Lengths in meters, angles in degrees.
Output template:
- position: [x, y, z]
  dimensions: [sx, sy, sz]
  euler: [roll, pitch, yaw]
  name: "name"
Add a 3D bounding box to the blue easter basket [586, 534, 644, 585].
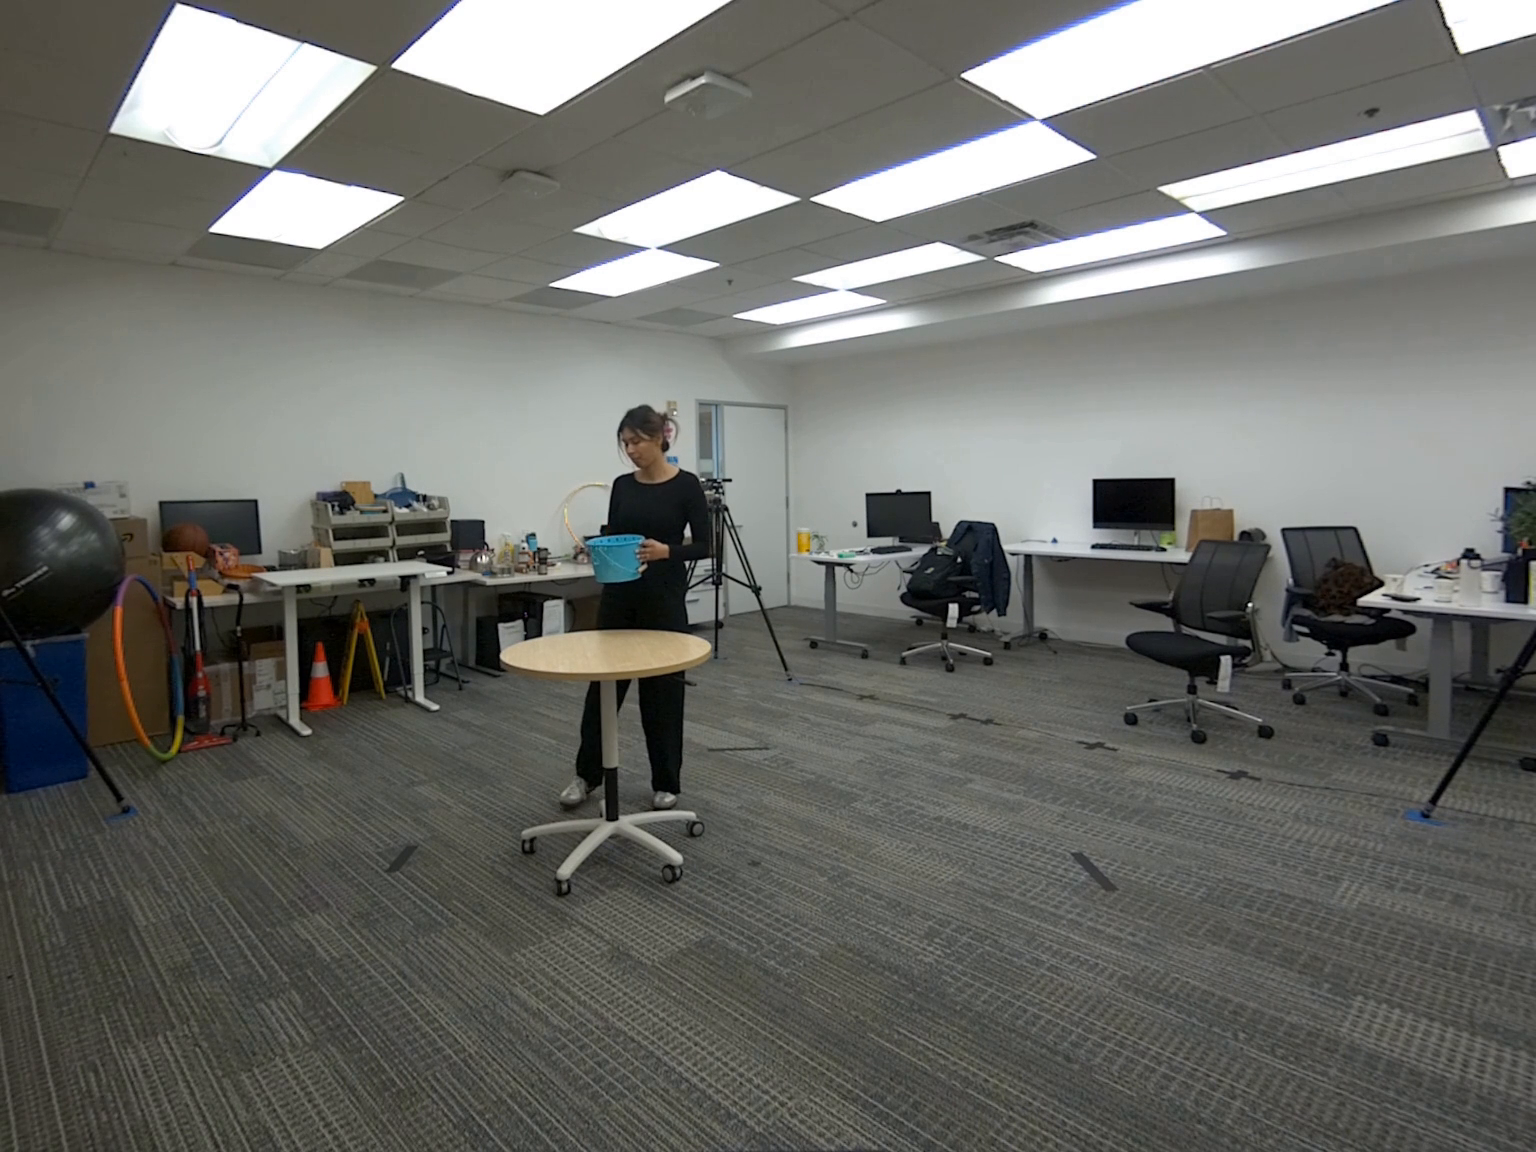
- position: [-0.605, -0.060, 3.386]
  dimensions: [0.243, 0.155, 0.245]
  euler: [-5, 8, -1]
  name: "blue easter basket"
